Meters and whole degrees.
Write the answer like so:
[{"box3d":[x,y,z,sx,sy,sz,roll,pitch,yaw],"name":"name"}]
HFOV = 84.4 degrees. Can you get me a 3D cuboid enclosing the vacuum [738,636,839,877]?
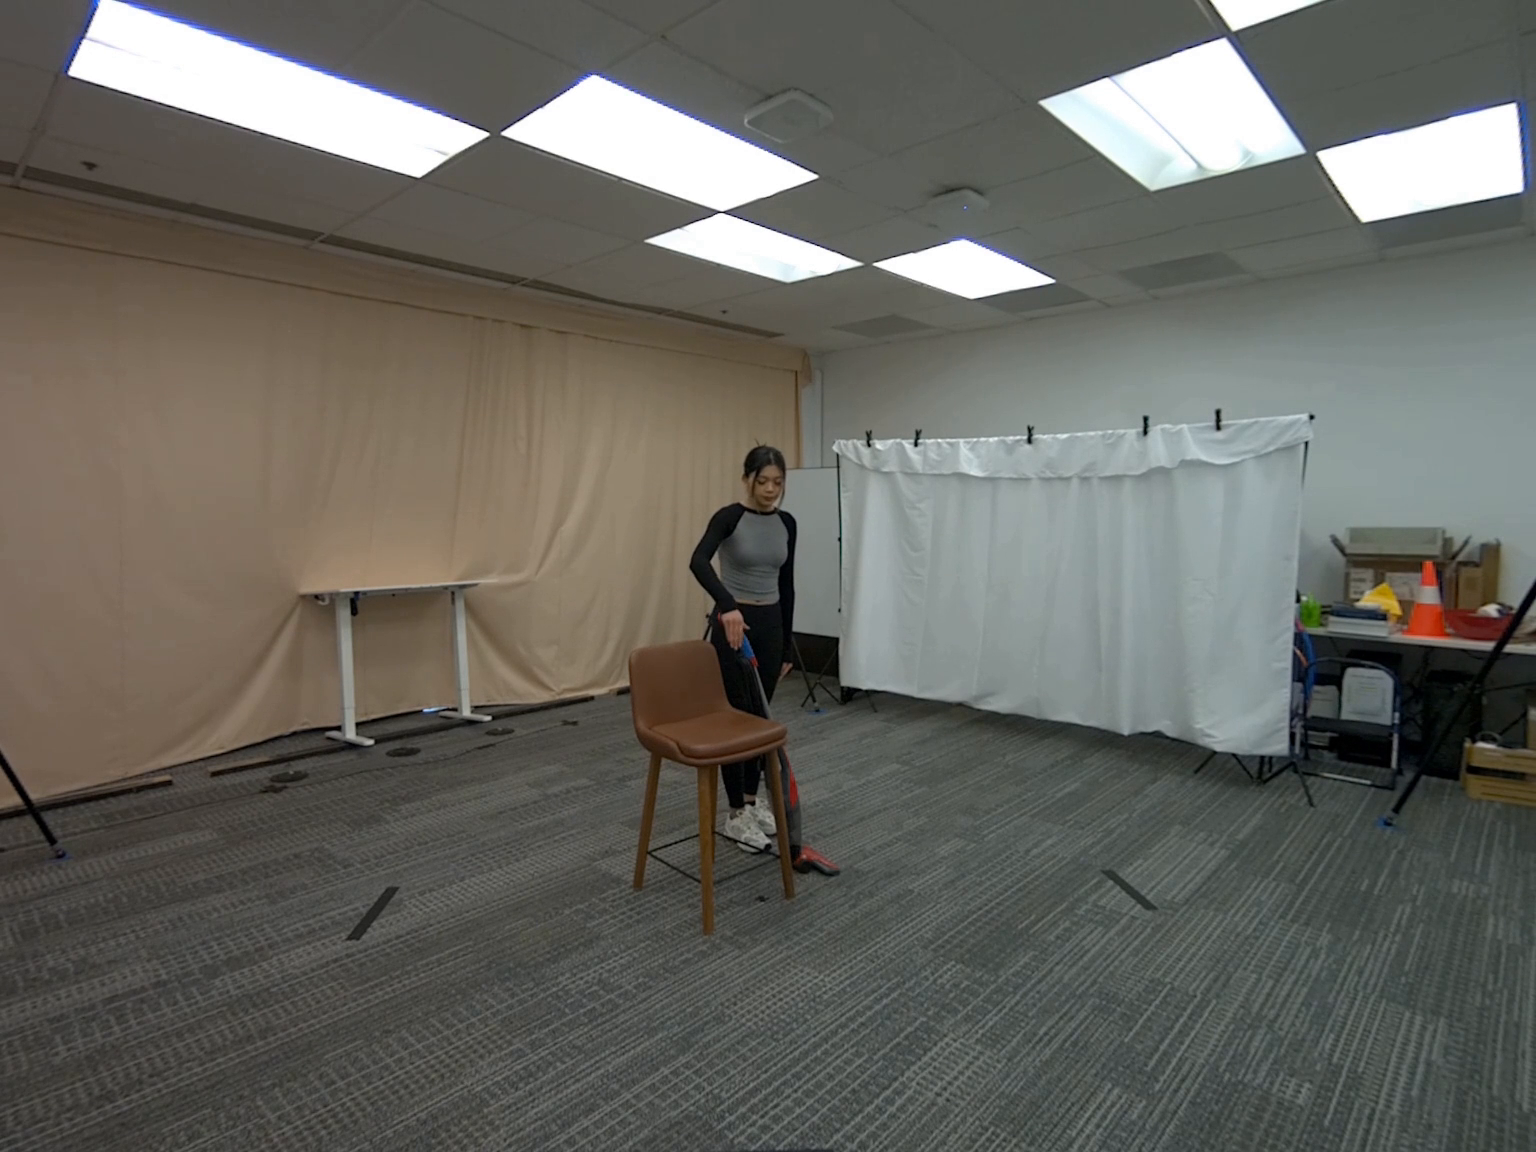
[{"box3d":[0.003,0.630,3.158,0.141,1.038,0.259,-23,13,-25],"name":"vacuum"}]
